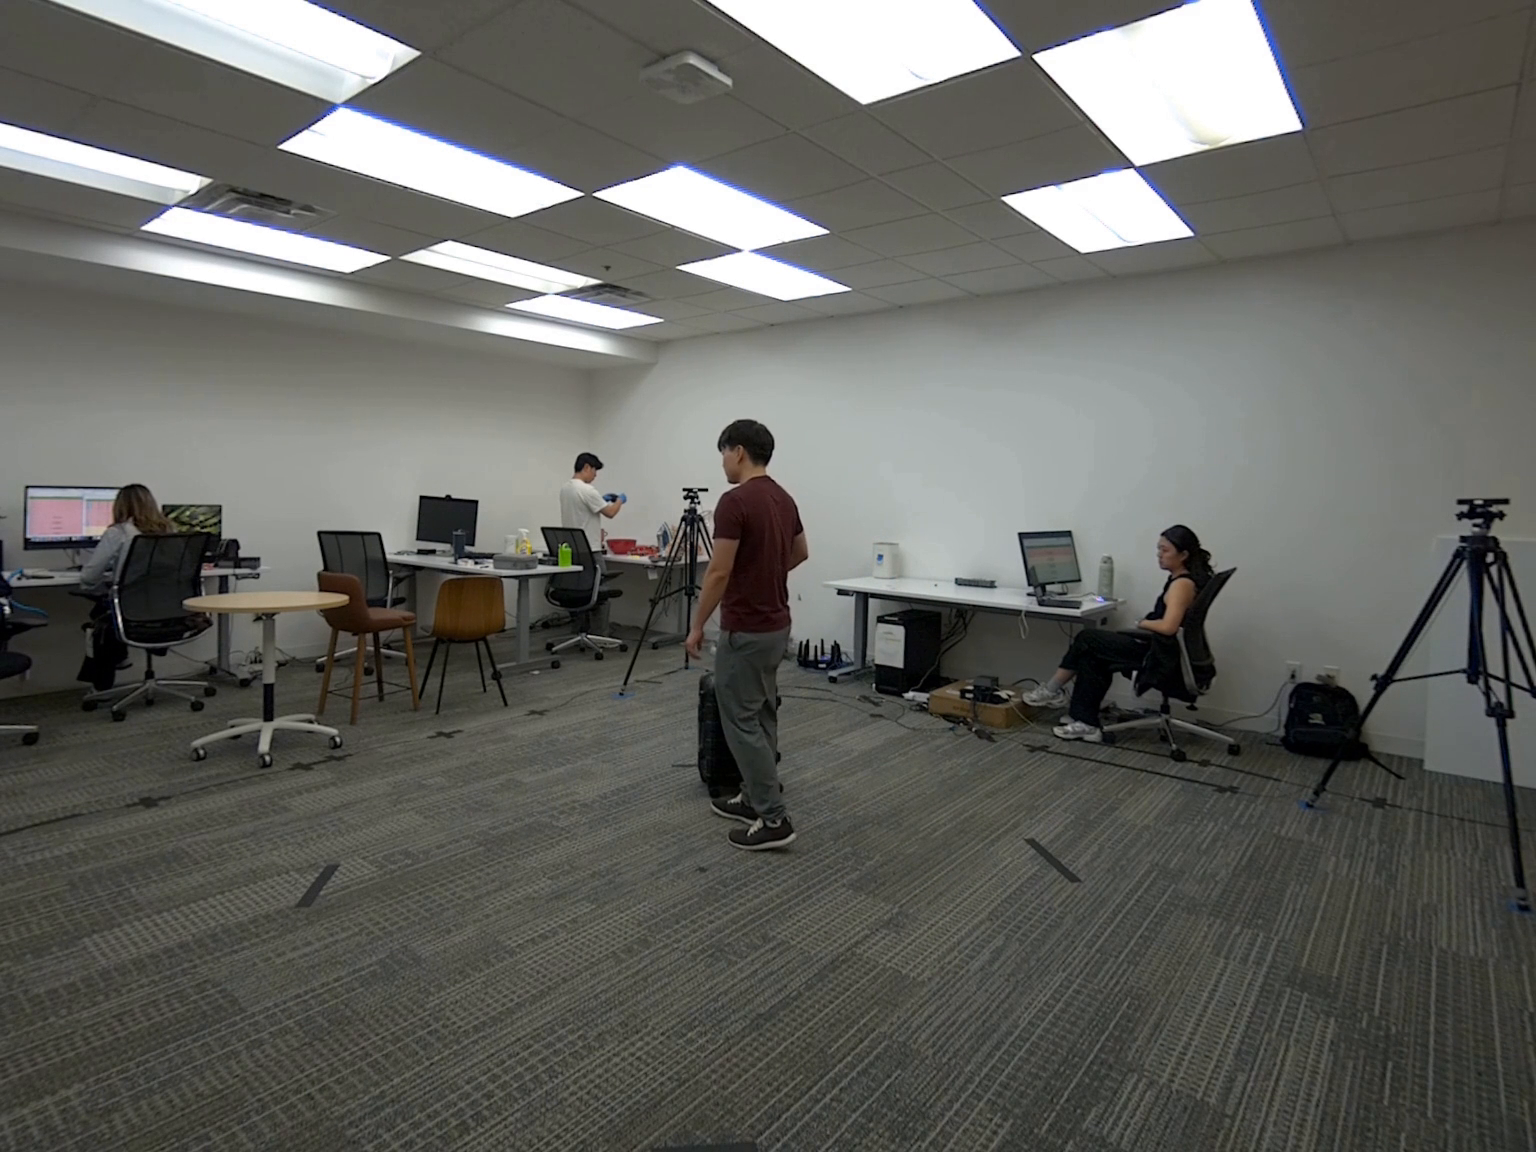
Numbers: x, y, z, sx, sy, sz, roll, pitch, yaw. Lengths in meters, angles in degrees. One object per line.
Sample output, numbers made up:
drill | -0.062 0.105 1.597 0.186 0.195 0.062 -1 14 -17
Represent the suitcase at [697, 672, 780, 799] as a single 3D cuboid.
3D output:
suitcase | -0.153 0.511 3.958 0.380 0.977 0.260 -1 2 -9
